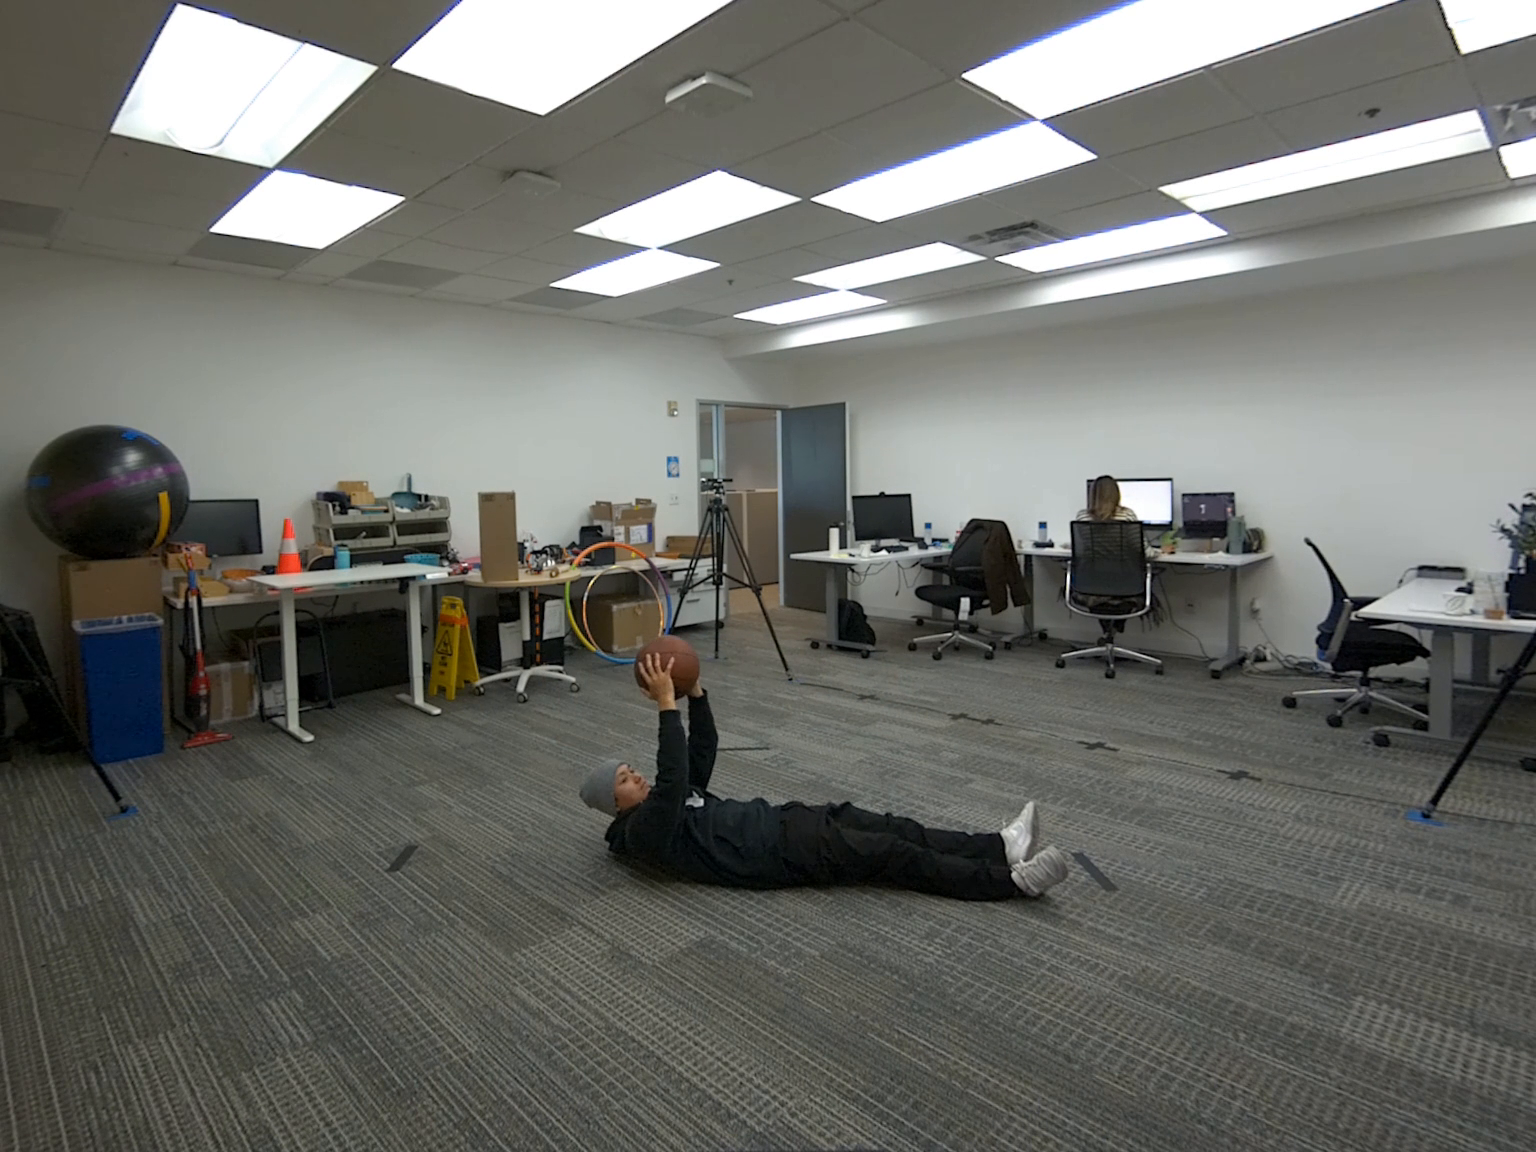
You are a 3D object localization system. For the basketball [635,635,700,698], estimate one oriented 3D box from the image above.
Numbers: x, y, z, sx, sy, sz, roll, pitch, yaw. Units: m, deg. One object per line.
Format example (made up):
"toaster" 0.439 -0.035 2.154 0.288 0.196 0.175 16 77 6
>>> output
"basketball" -0.366 0.335 3.117 0.236 0.235 0.237 -1 5 -2
